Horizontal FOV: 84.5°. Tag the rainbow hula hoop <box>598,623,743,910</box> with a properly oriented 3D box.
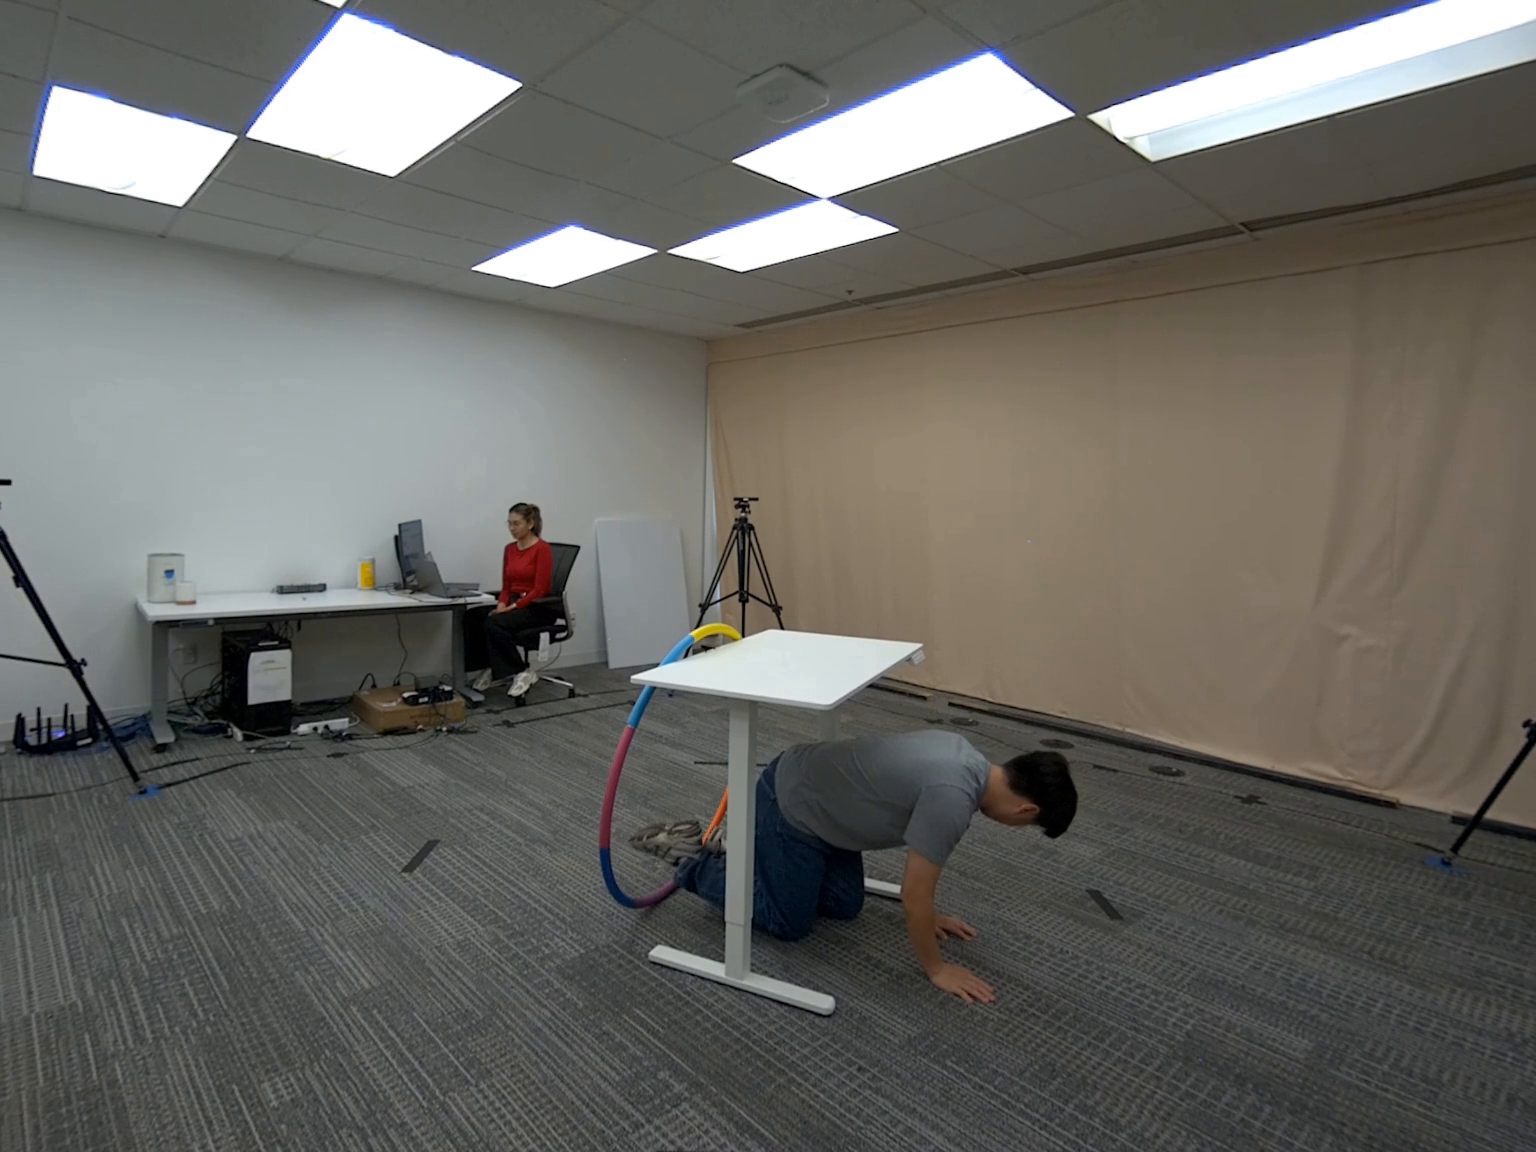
[{"bbox_3d":[-0.288,0.641,2.891,0.036,0.974,0.963,13,8,21],"label":"rainbow hula hoop"}]
